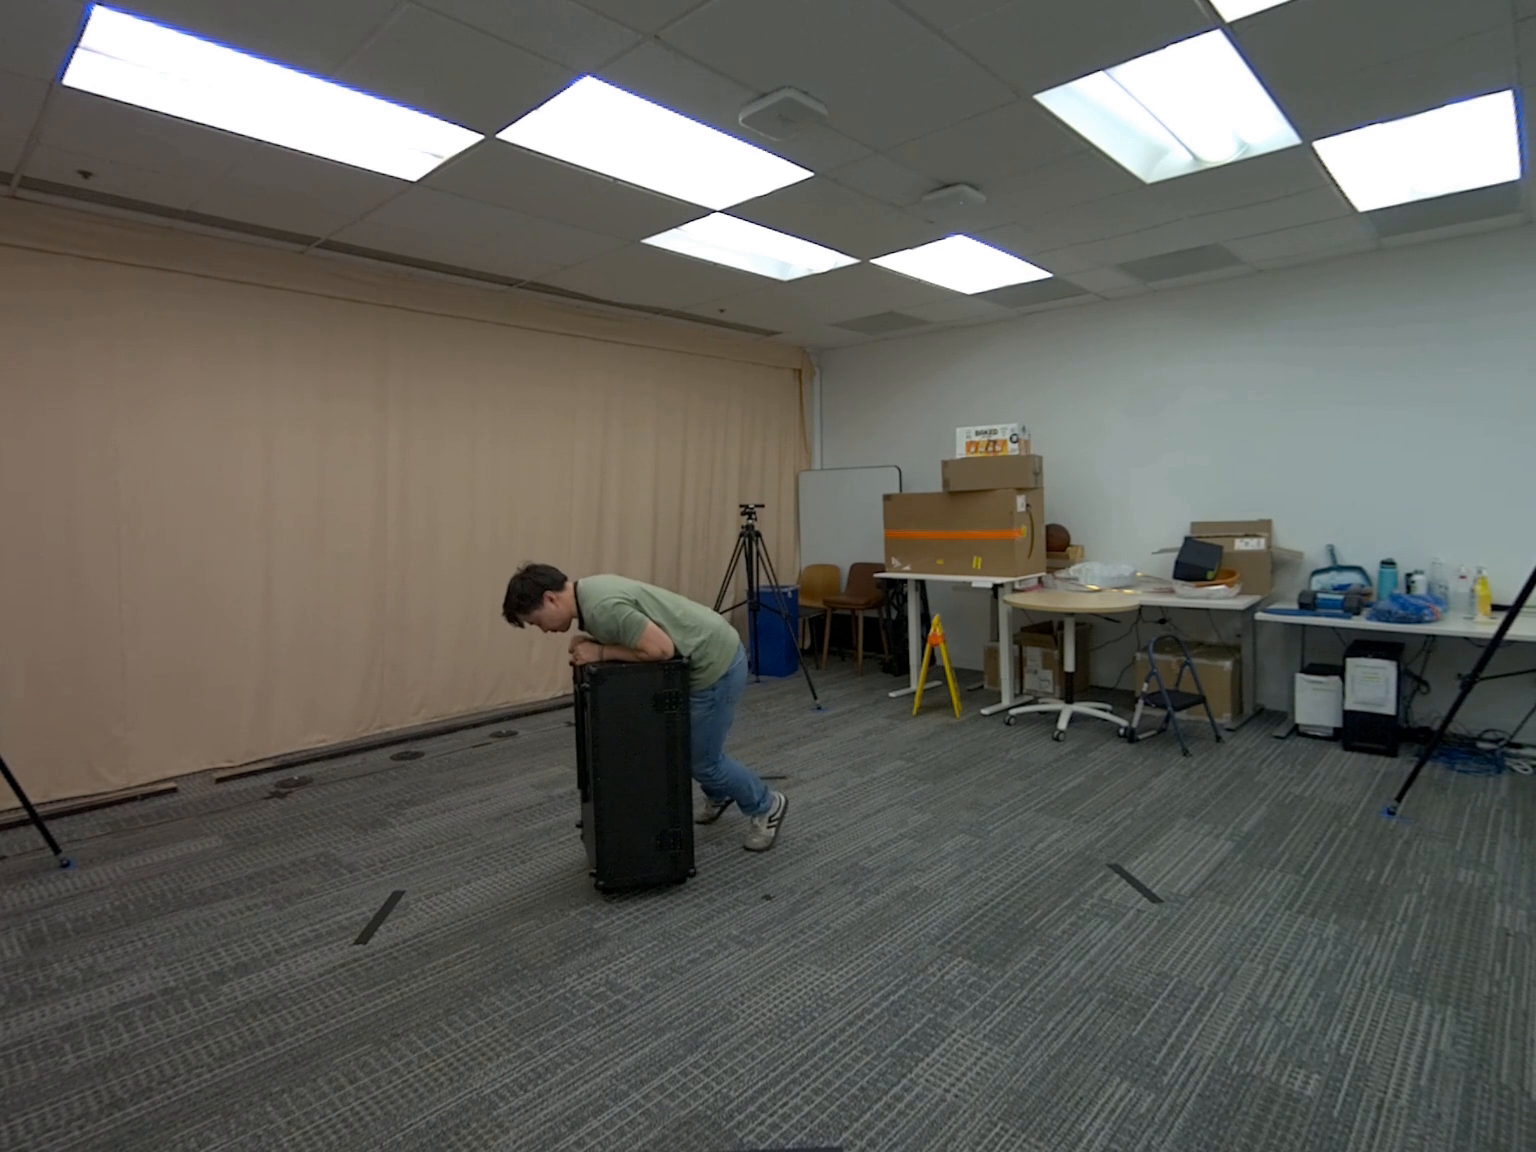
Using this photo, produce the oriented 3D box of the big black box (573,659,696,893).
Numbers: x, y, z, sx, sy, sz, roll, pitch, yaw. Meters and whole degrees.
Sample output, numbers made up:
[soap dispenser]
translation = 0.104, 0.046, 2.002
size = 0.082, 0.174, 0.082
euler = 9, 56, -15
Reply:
[big black box]
translation = -0.524, 0.712, 3.157
size = 0.390, 0.859, 0.531
euler = -3, 4, -17
